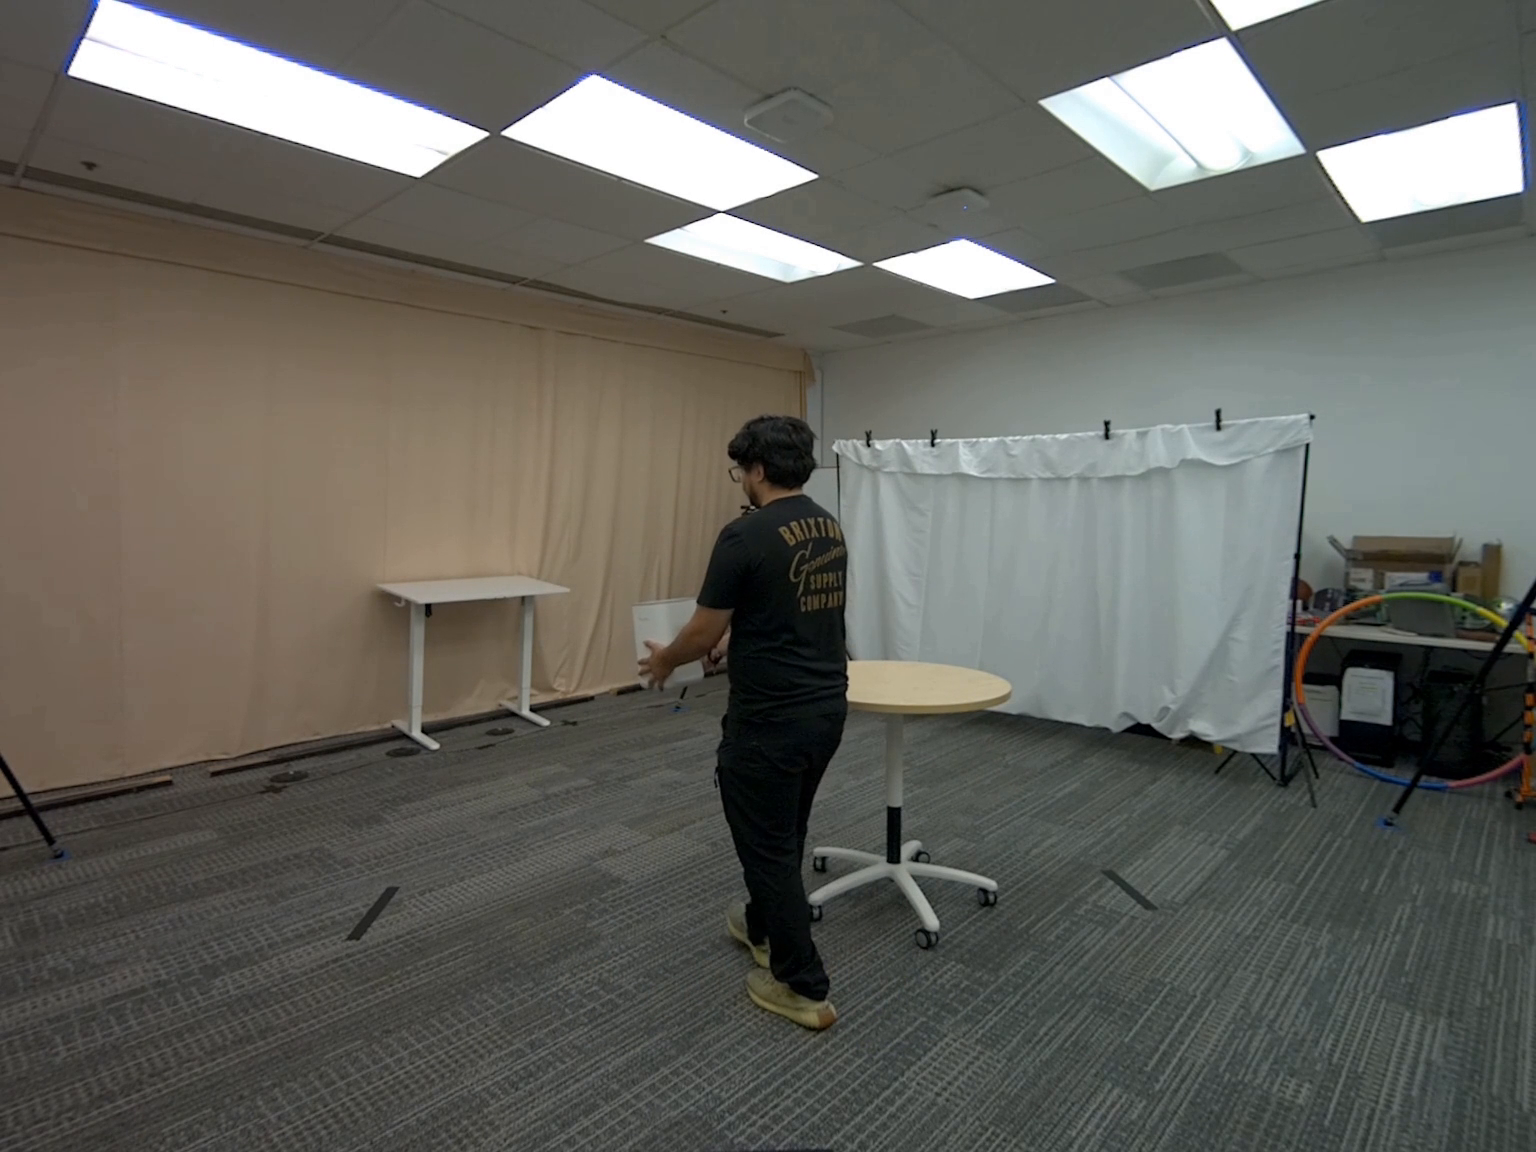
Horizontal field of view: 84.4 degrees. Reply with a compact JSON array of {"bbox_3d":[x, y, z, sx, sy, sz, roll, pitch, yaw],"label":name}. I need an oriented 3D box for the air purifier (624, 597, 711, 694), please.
[{"bbox_3d":[-0.308,0.207,2.588,0.176,0.265,0.166,-6,-1,41],"label":"air purifier"}]
